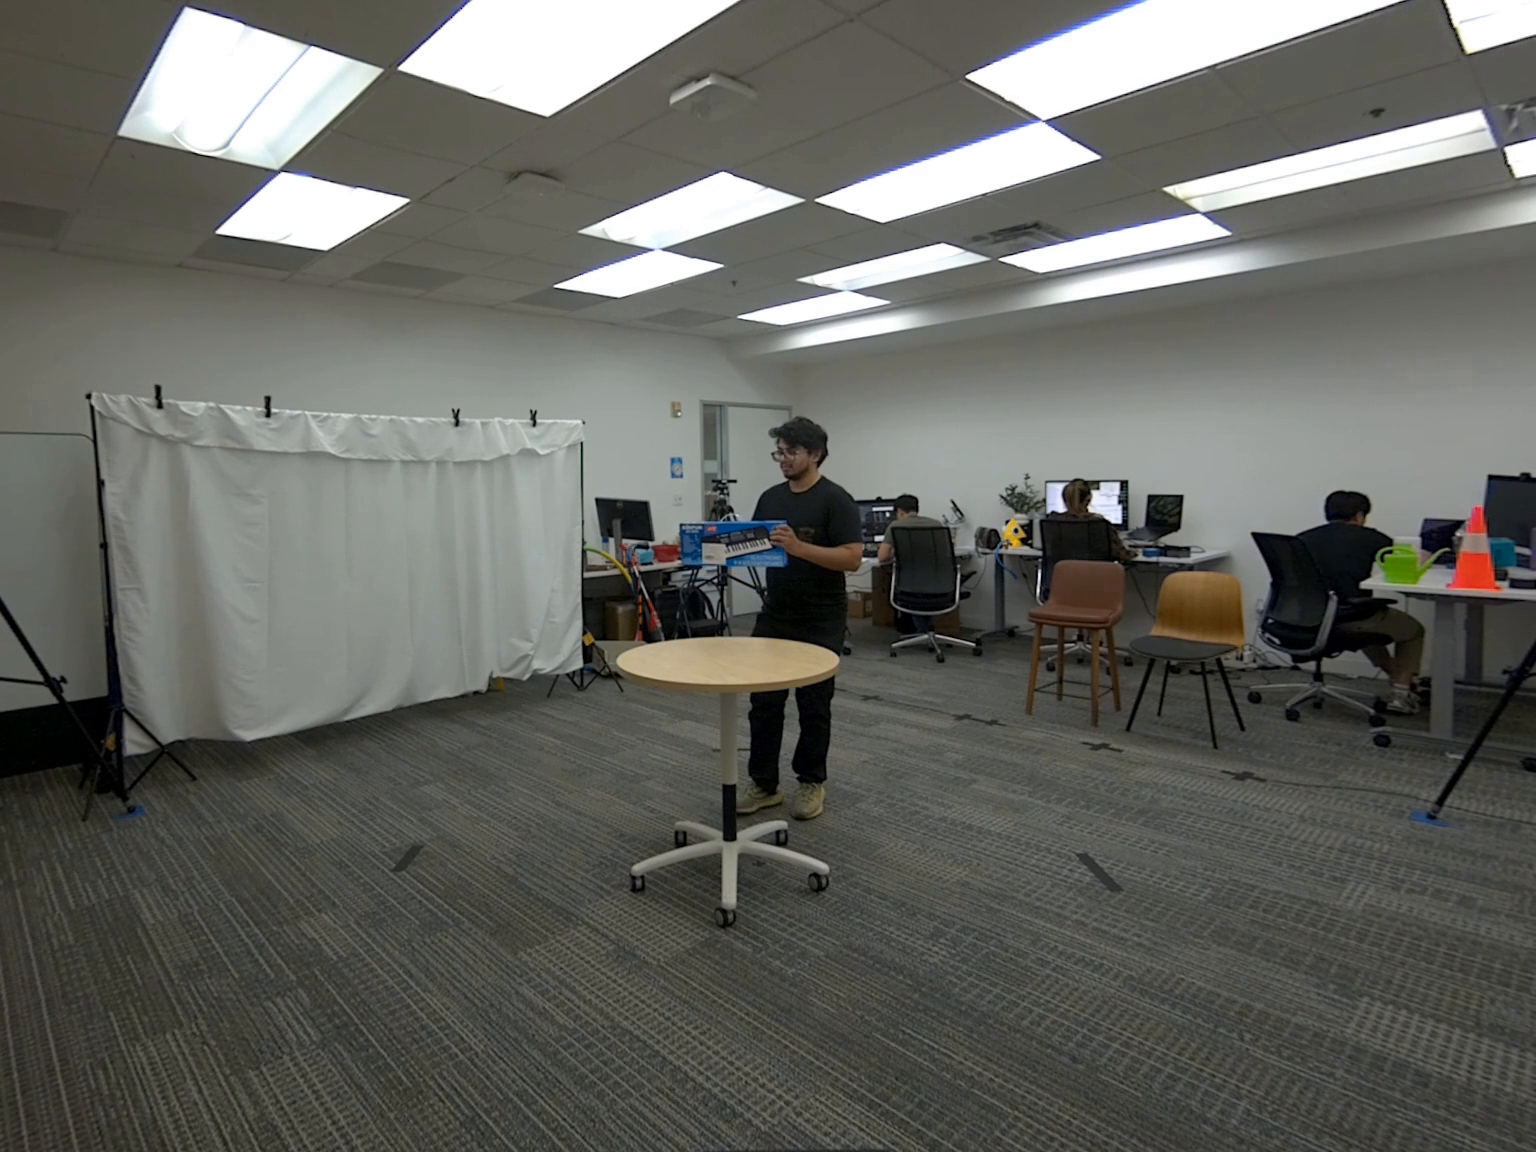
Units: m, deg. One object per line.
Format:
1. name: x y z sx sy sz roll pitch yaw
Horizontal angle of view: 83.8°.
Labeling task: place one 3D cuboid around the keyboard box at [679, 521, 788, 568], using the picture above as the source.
1. keyboard box: -0.136 -0.123 3.365 0.447 0.175 0.058 3 6 24
